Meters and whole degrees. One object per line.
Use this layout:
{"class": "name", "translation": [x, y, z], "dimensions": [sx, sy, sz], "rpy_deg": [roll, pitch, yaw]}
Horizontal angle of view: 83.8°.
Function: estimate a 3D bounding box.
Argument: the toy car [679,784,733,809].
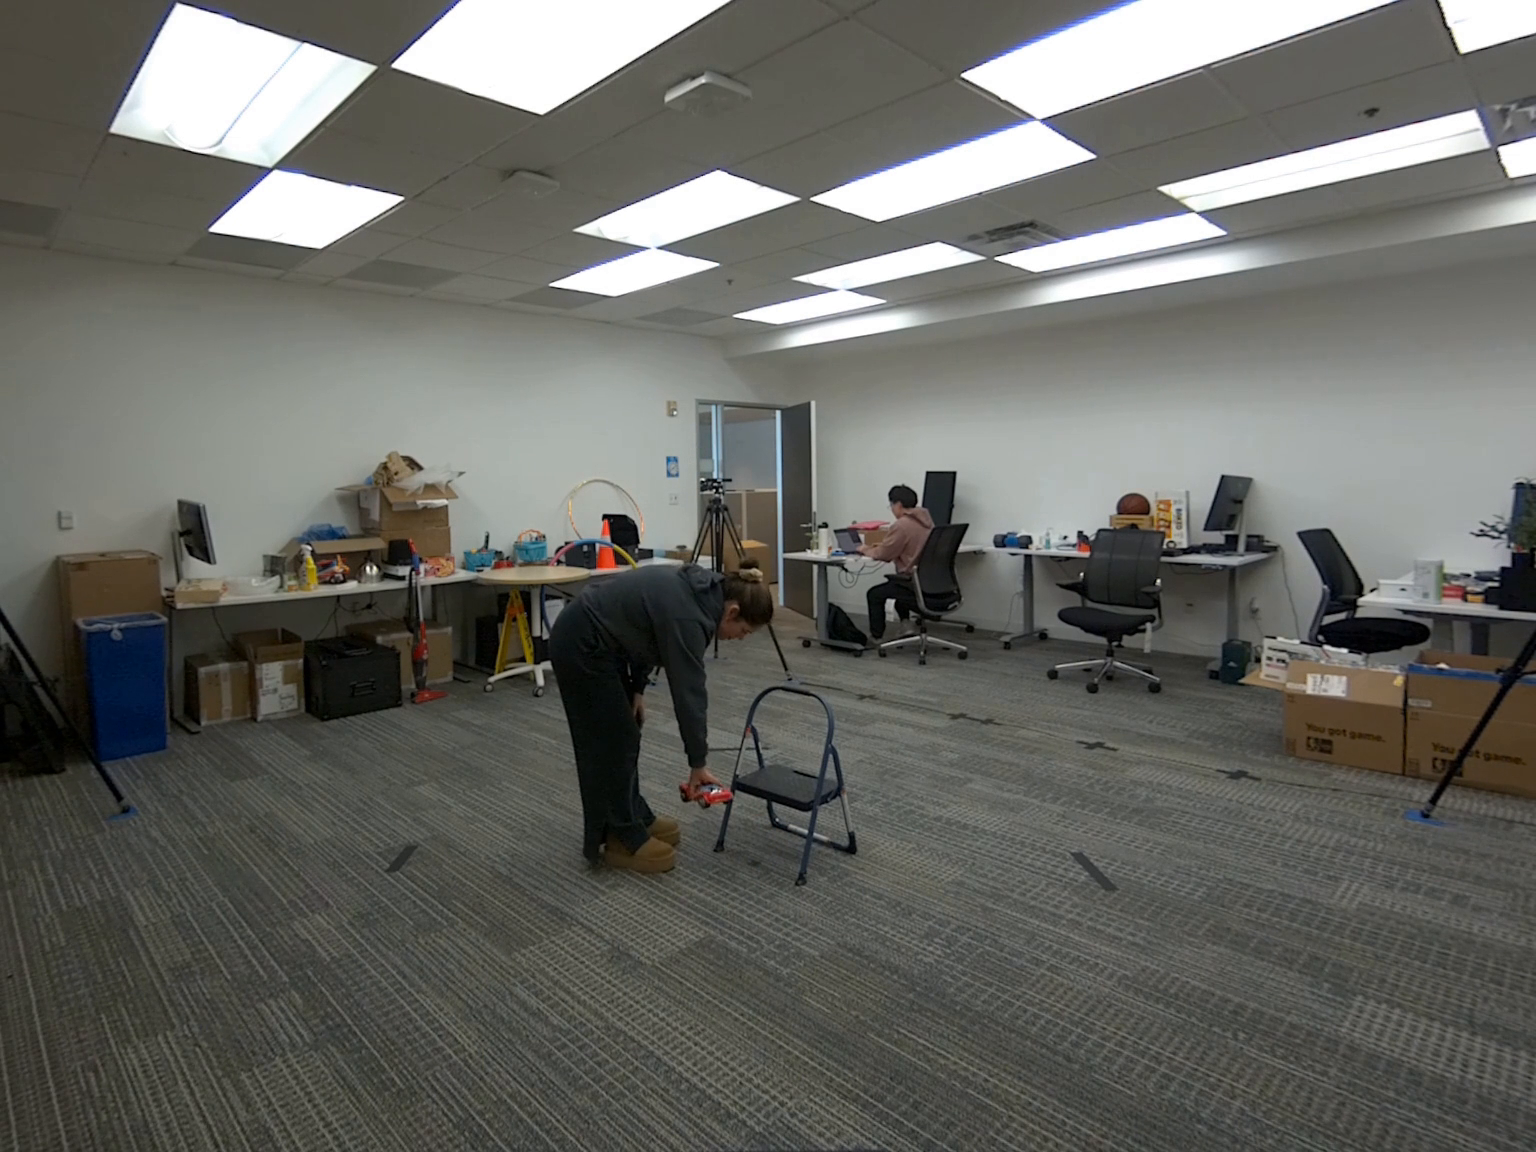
{"class": "toy car", "translation": [-0.242, 0.777, 3.043], "dimensions": [0.127, 0.083, 0.262], "rpy_deg": [-3, 9, -30]}
